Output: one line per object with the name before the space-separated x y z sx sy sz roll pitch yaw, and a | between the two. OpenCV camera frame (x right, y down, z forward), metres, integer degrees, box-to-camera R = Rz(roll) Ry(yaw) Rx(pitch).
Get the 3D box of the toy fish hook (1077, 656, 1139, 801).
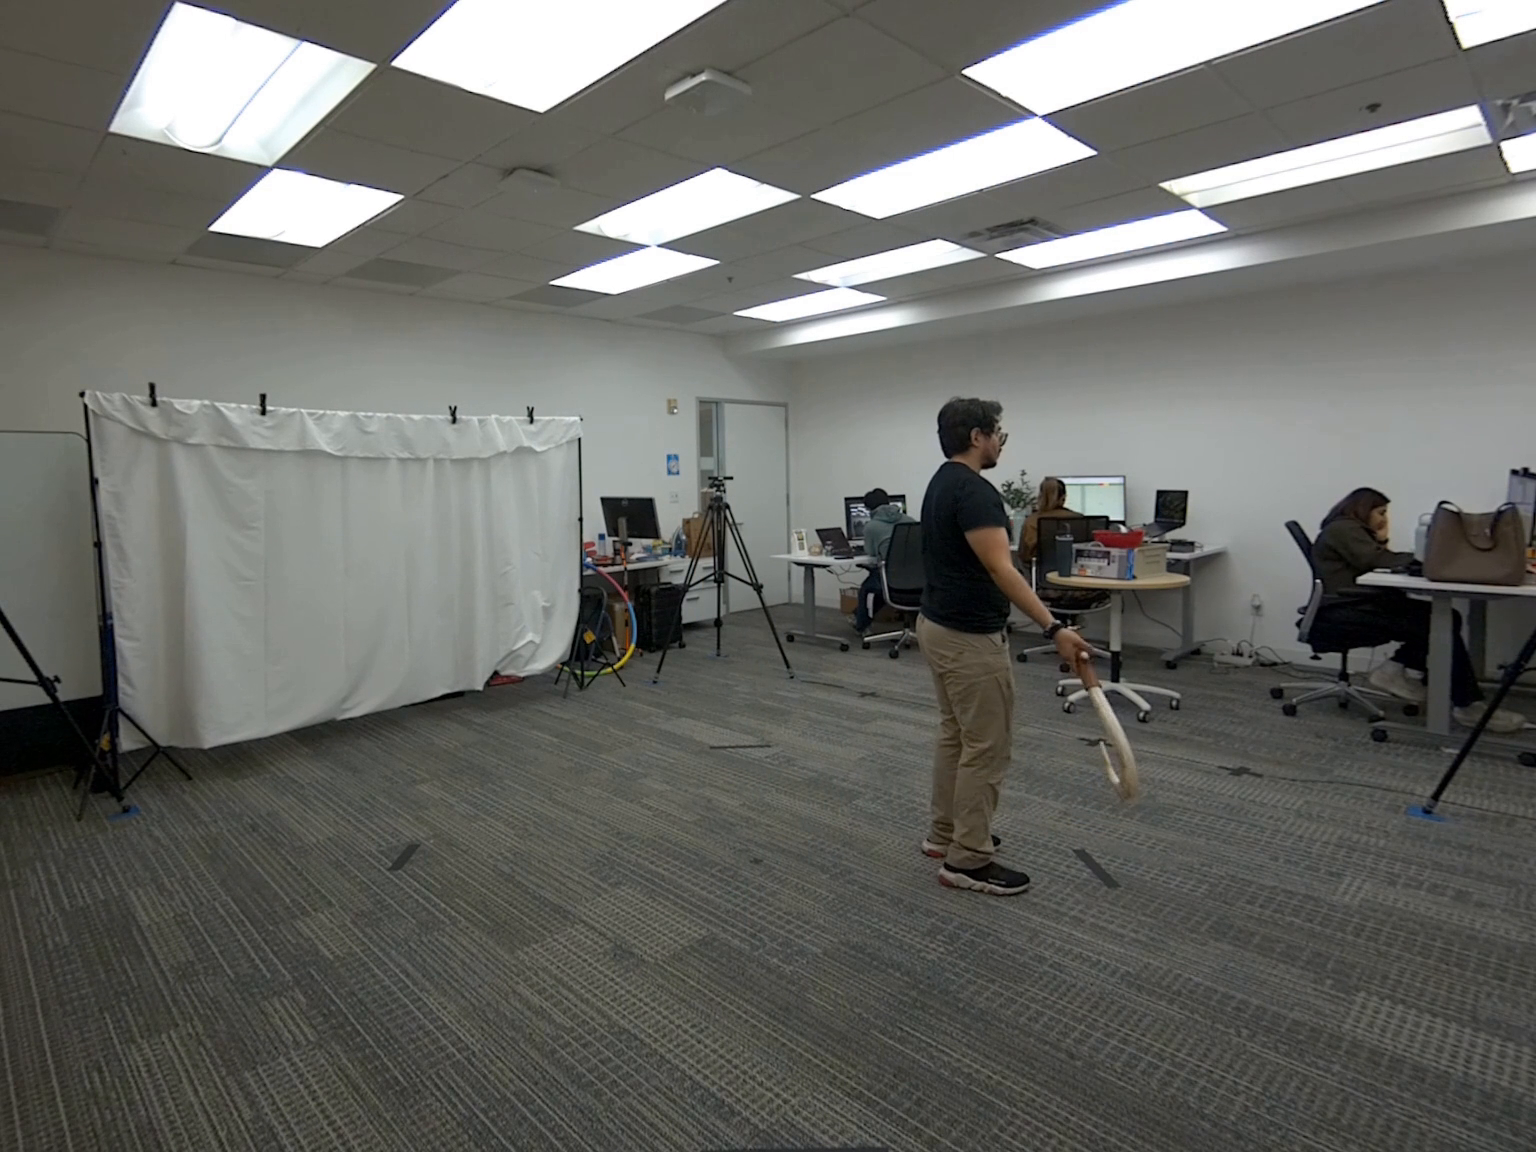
toy fish hook | 0.945 0.386 2.451 0.048 0.521 0.218 -9 -34 0
